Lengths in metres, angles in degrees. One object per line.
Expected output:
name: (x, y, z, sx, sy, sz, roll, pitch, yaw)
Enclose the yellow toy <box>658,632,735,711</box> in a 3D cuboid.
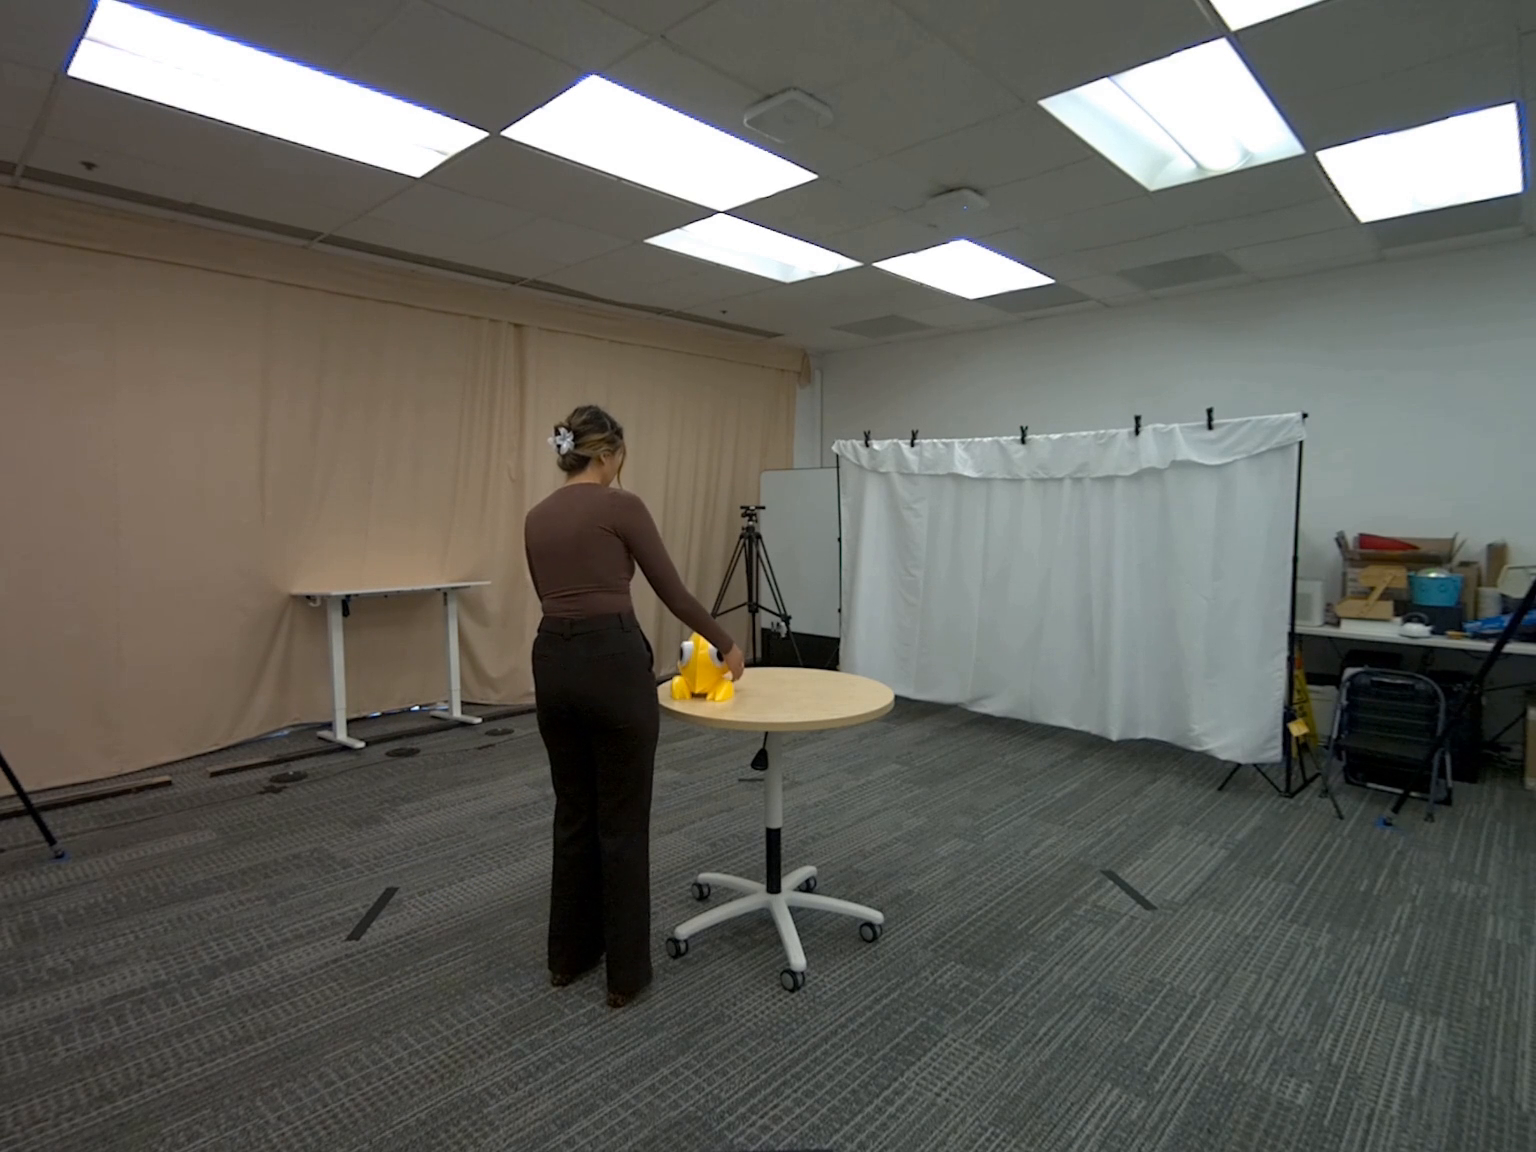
yellow toy: (-0.203, 0.262, 2.665, 0.207, 0.230, 0.191, -1, 3, 9)
